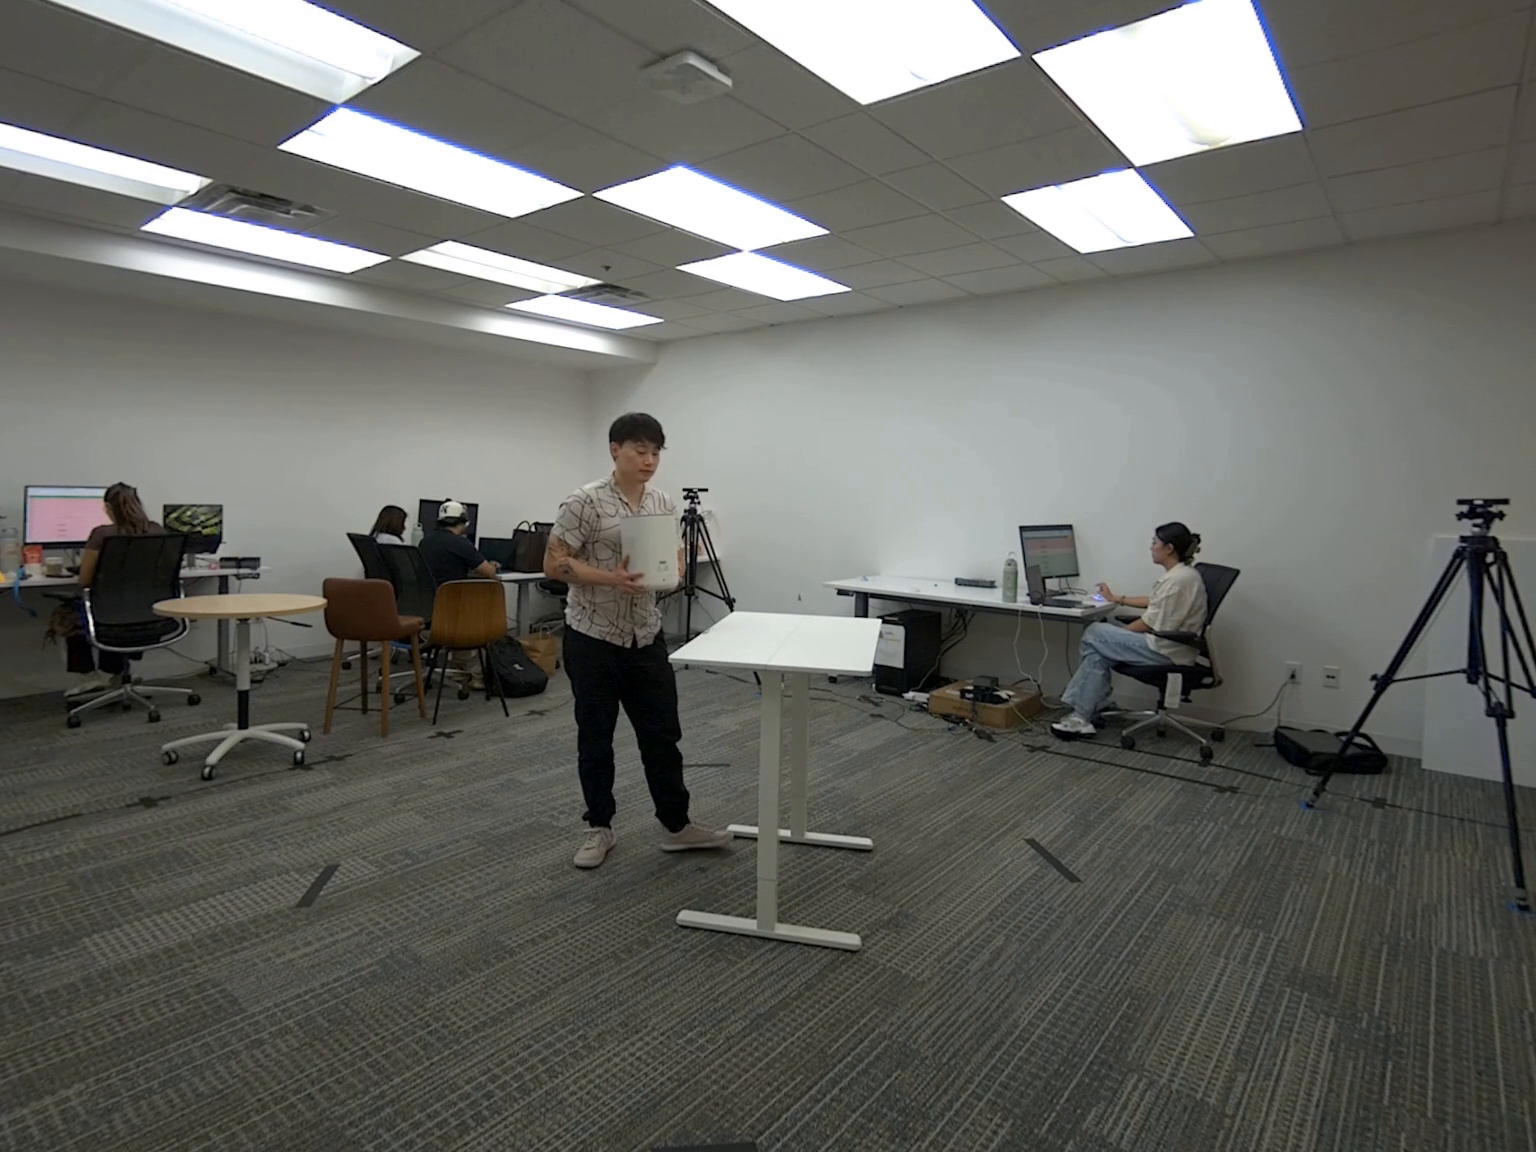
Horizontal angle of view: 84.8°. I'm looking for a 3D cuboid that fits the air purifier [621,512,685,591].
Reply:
[{"bbox_3d":[-0.432,-0.088,3.028,0.166,0.265,0.176,-6,0,-39],"label":"air purifier"}]
